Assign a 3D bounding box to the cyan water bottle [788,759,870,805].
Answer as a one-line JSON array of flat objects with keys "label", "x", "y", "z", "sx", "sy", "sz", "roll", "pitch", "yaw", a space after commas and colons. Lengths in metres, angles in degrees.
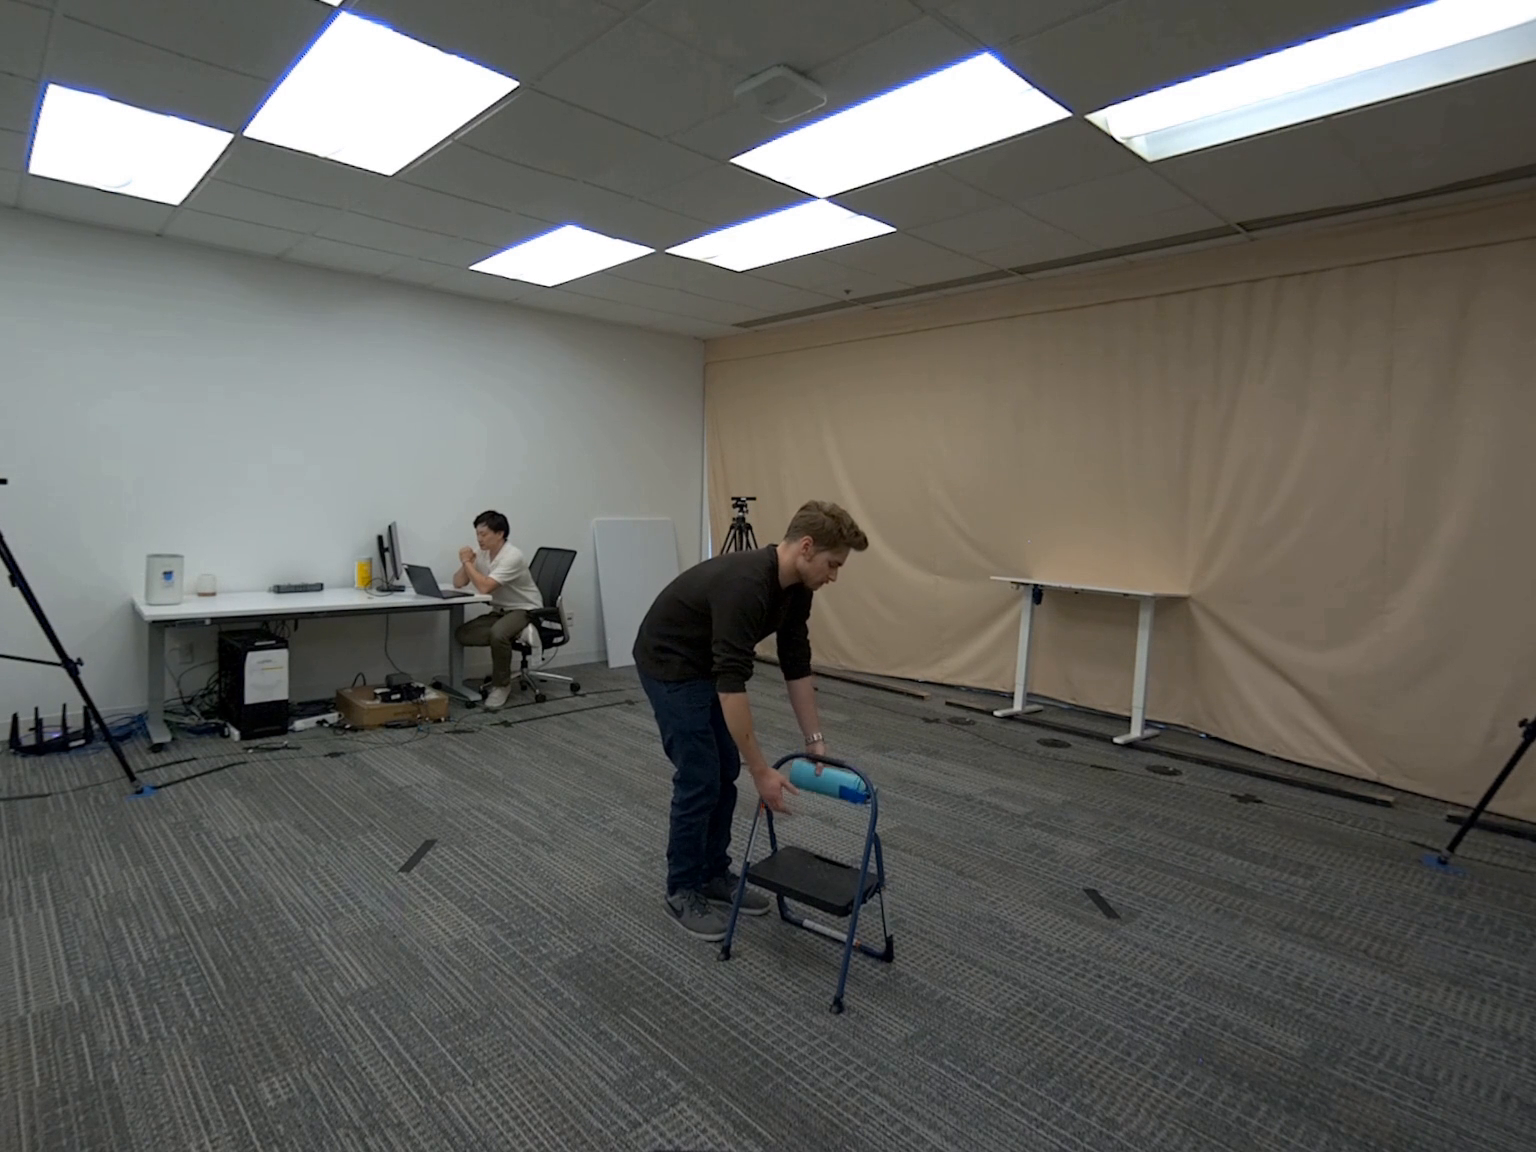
[{"label": "cyan water bottle", "x": 0.212, "y": 0.676, "z": 2.764, "sx": 0.289, "sy": 0.092, "sz": 0.091, "roll": 8, "pitch": 6, "yaw": 23}]
